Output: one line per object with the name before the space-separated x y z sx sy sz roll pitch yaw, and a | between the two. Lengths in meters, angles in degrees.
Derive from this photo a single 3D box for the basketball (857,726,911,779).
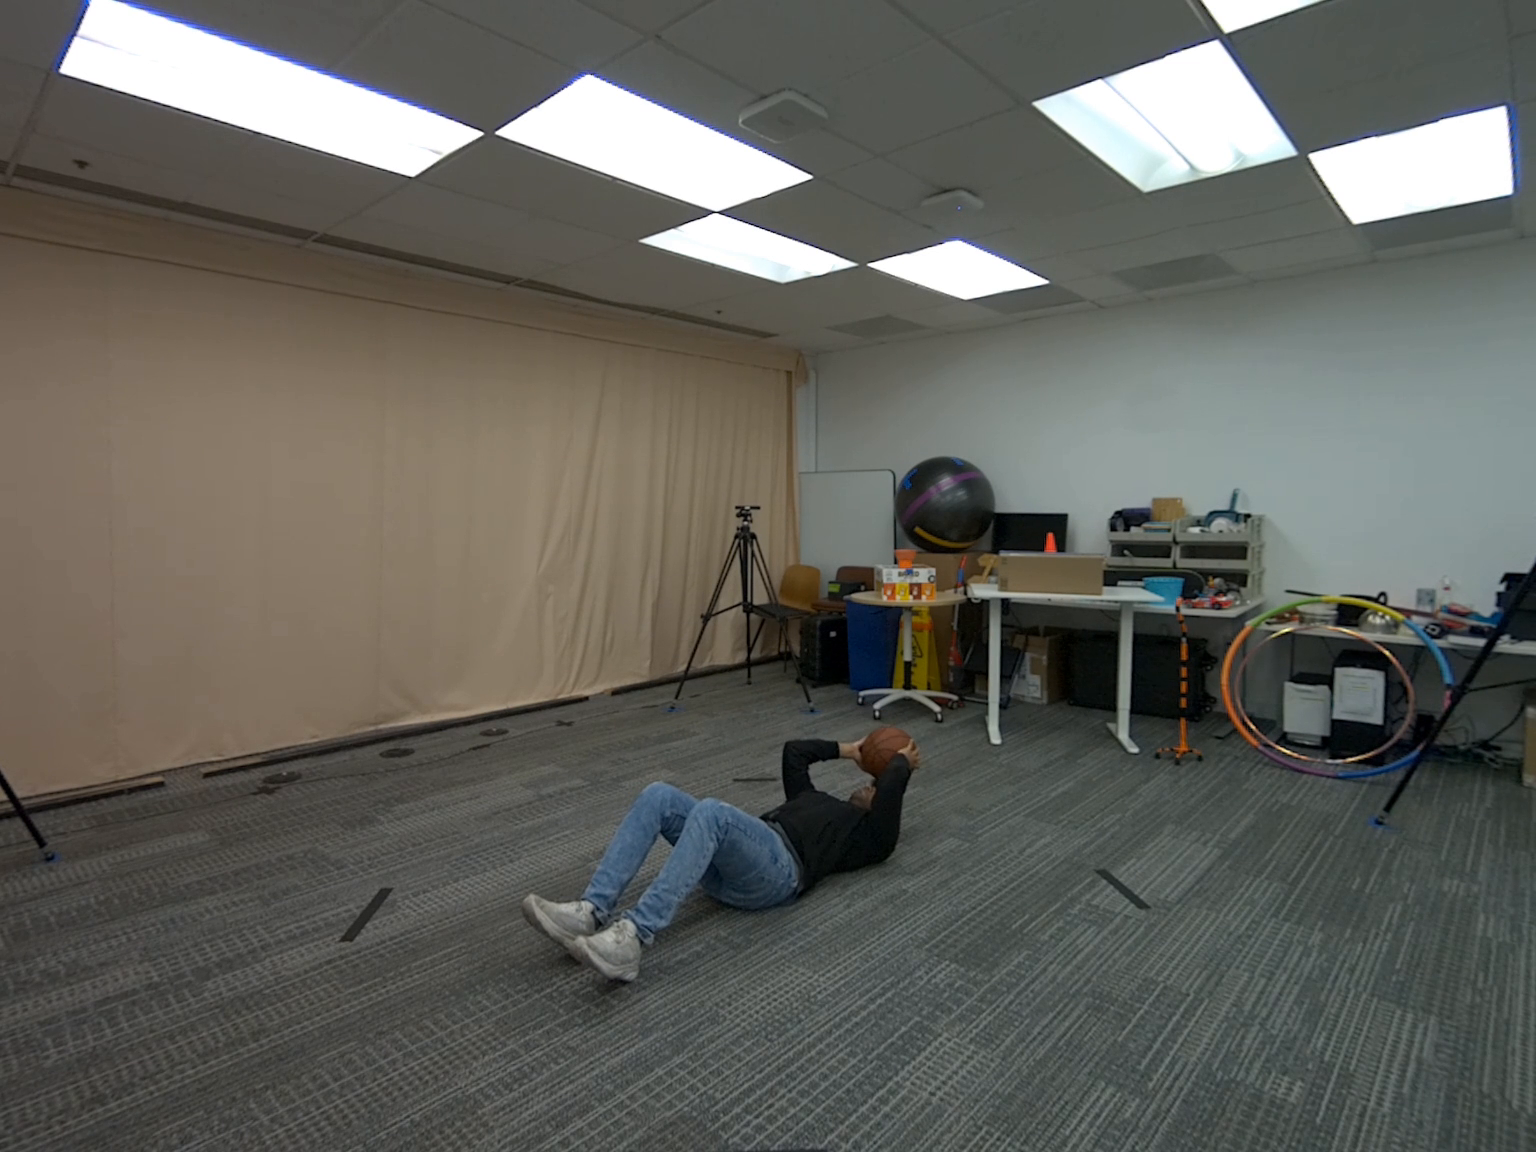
basketball | 0.522 0.766 3.633 0.236 0.235 0.237 0 4 -2
